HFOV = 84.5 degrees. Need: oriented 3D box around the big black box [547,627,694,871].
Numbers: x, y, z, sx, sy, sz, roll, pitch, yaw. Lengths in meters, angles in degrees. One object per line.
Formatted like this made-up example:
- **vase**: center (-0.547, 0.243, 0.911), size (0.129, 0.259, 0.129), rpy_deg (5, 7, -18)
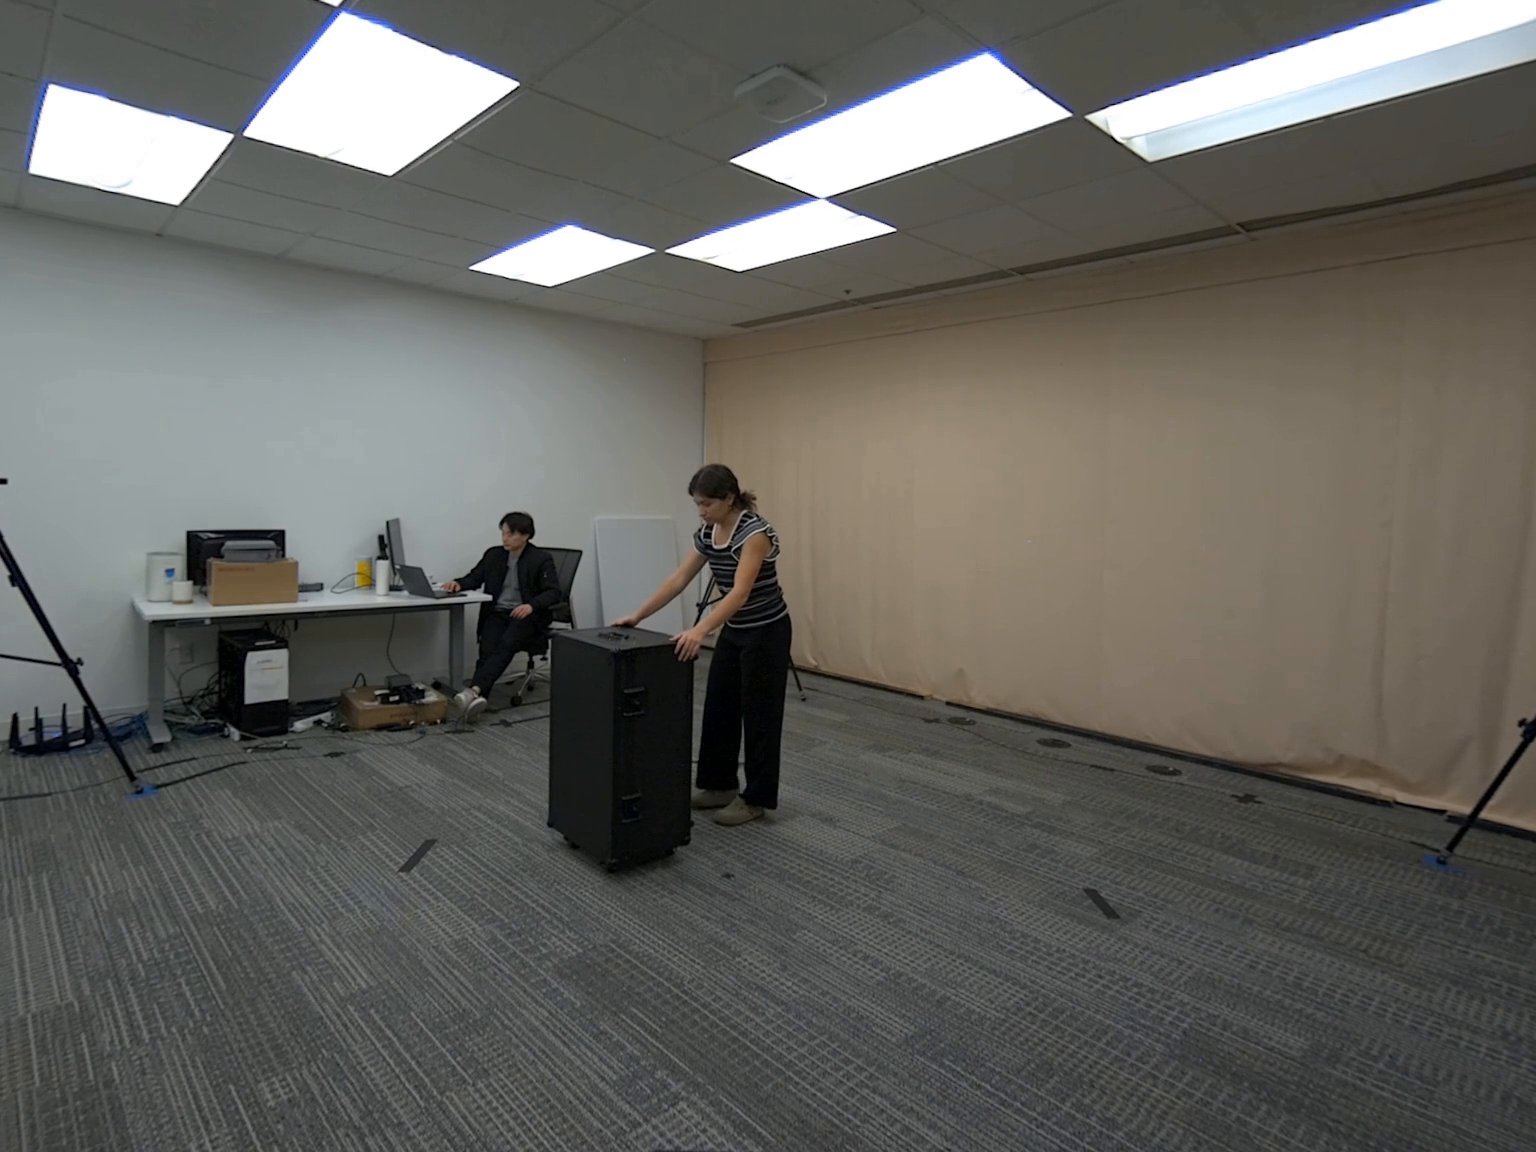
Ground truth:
- **big black box**: center (-0.581, 0.658, 3.272), size (0.387, 0.859, 0.534), rpy_deg (-1, 4, -41)
